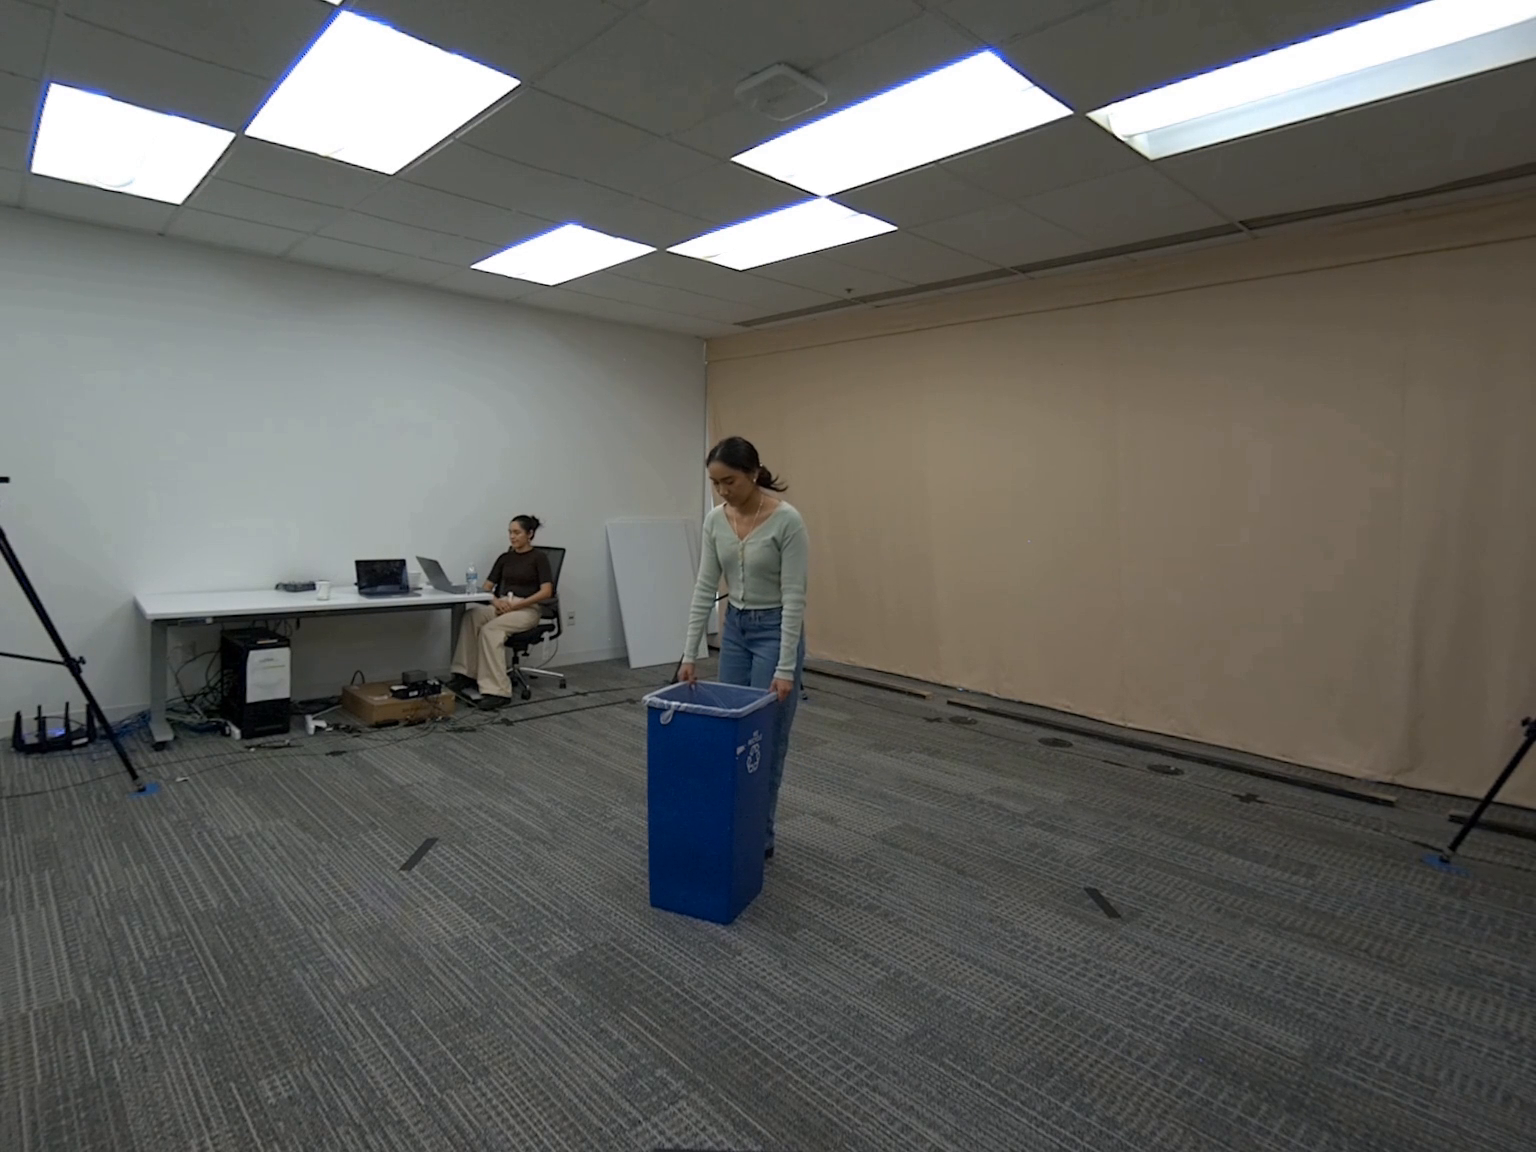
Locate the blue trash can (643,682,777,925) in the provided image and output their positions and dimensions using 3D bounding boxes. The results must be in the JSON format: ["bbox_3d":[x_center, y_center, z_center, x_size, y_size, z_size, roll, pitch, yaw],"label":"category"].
[{"bbox_3d":[-0.209,0.760,2.913,0.385,0.712,0.368,3,3,23],"label":"blue trash can"}]
